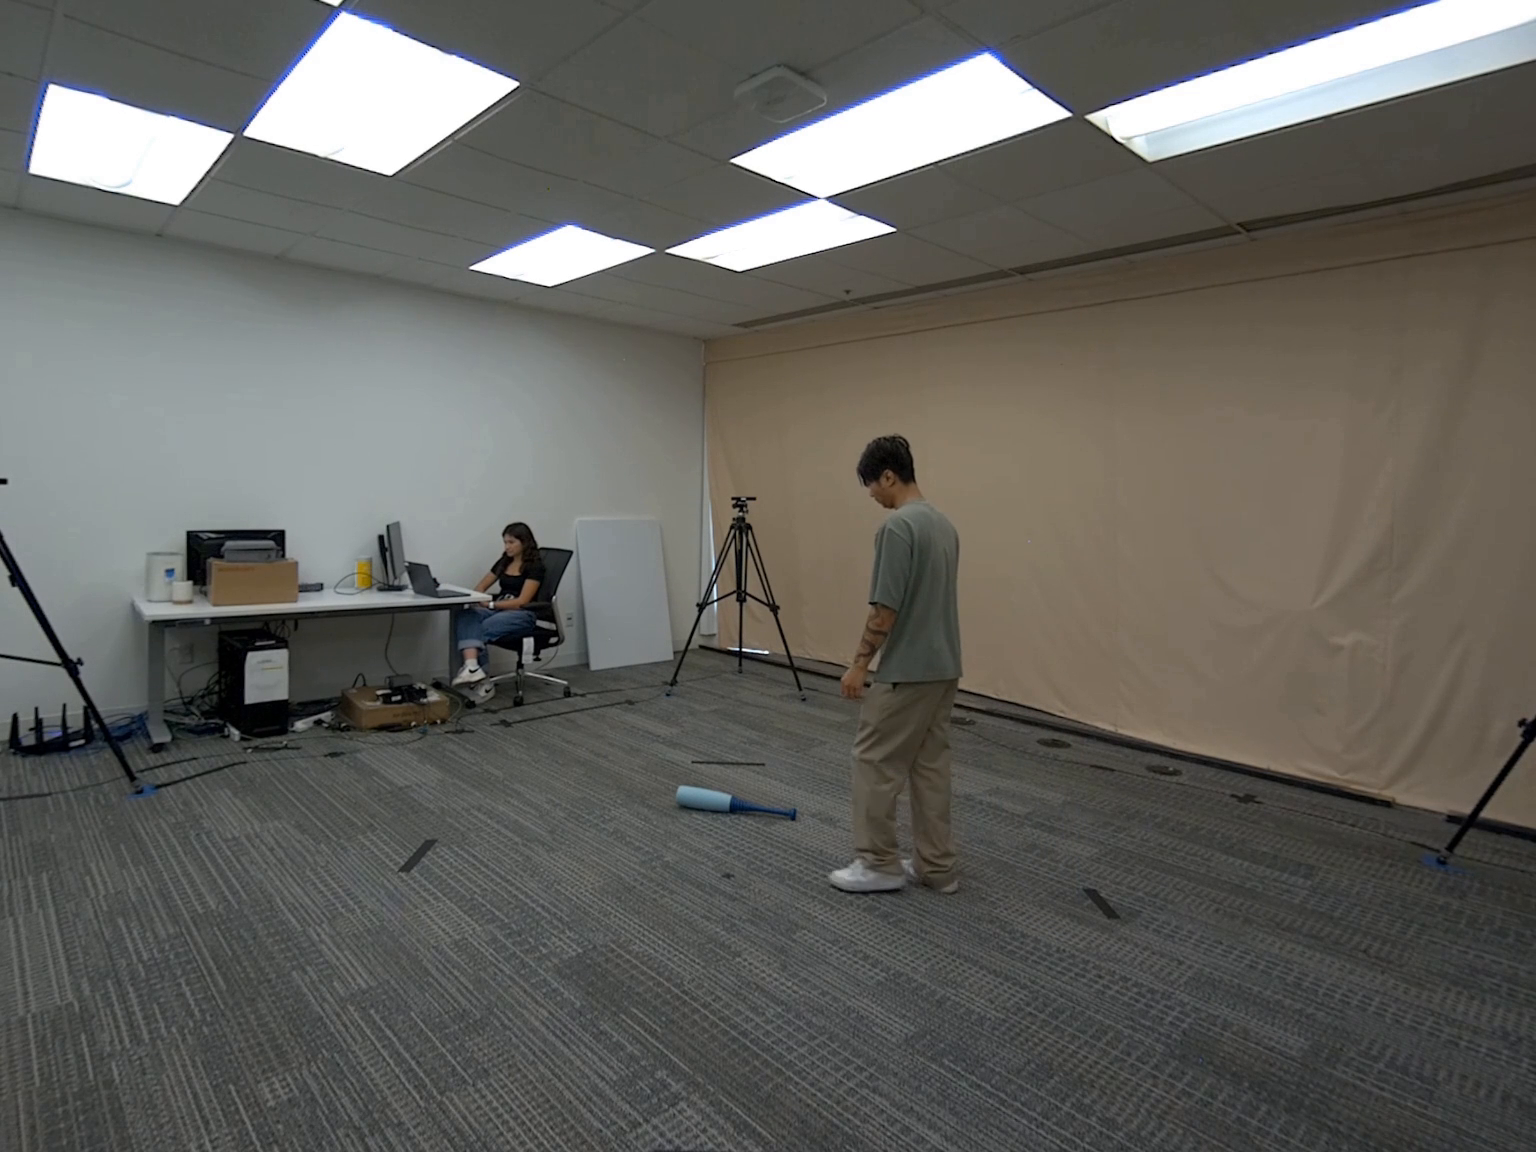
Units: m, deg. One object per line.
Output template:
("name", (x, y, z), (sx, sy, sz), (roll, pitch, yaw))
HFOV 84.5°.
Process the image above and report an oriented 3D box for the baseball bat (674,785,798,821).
("baseball bat", (-0.154, 1.013, 3.739), (0.549, 0.089, 0.088), (5, 5, 12))
